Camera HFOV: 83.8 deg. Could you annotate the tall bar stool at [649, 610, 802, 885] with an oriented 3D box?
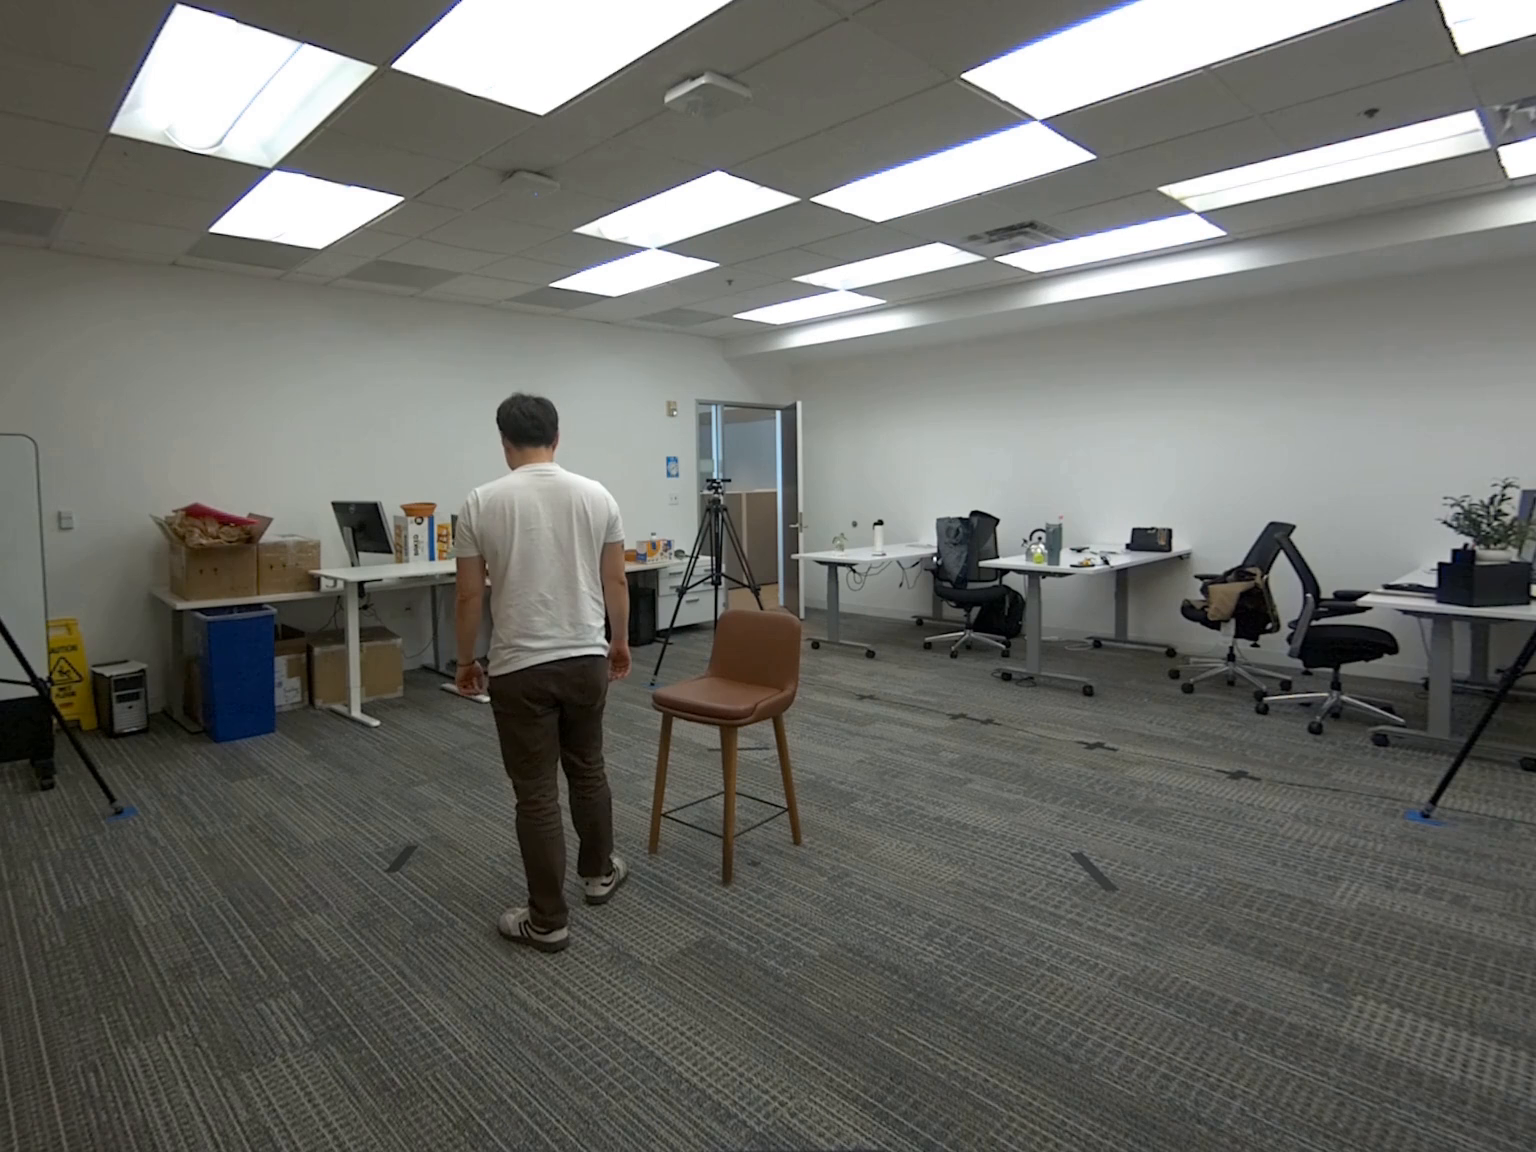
[{"bbox_3d":[-0.153,0.597,3.213,0.470,0.888,0.454,3,3,41],"label":"tall bar stool"}]
